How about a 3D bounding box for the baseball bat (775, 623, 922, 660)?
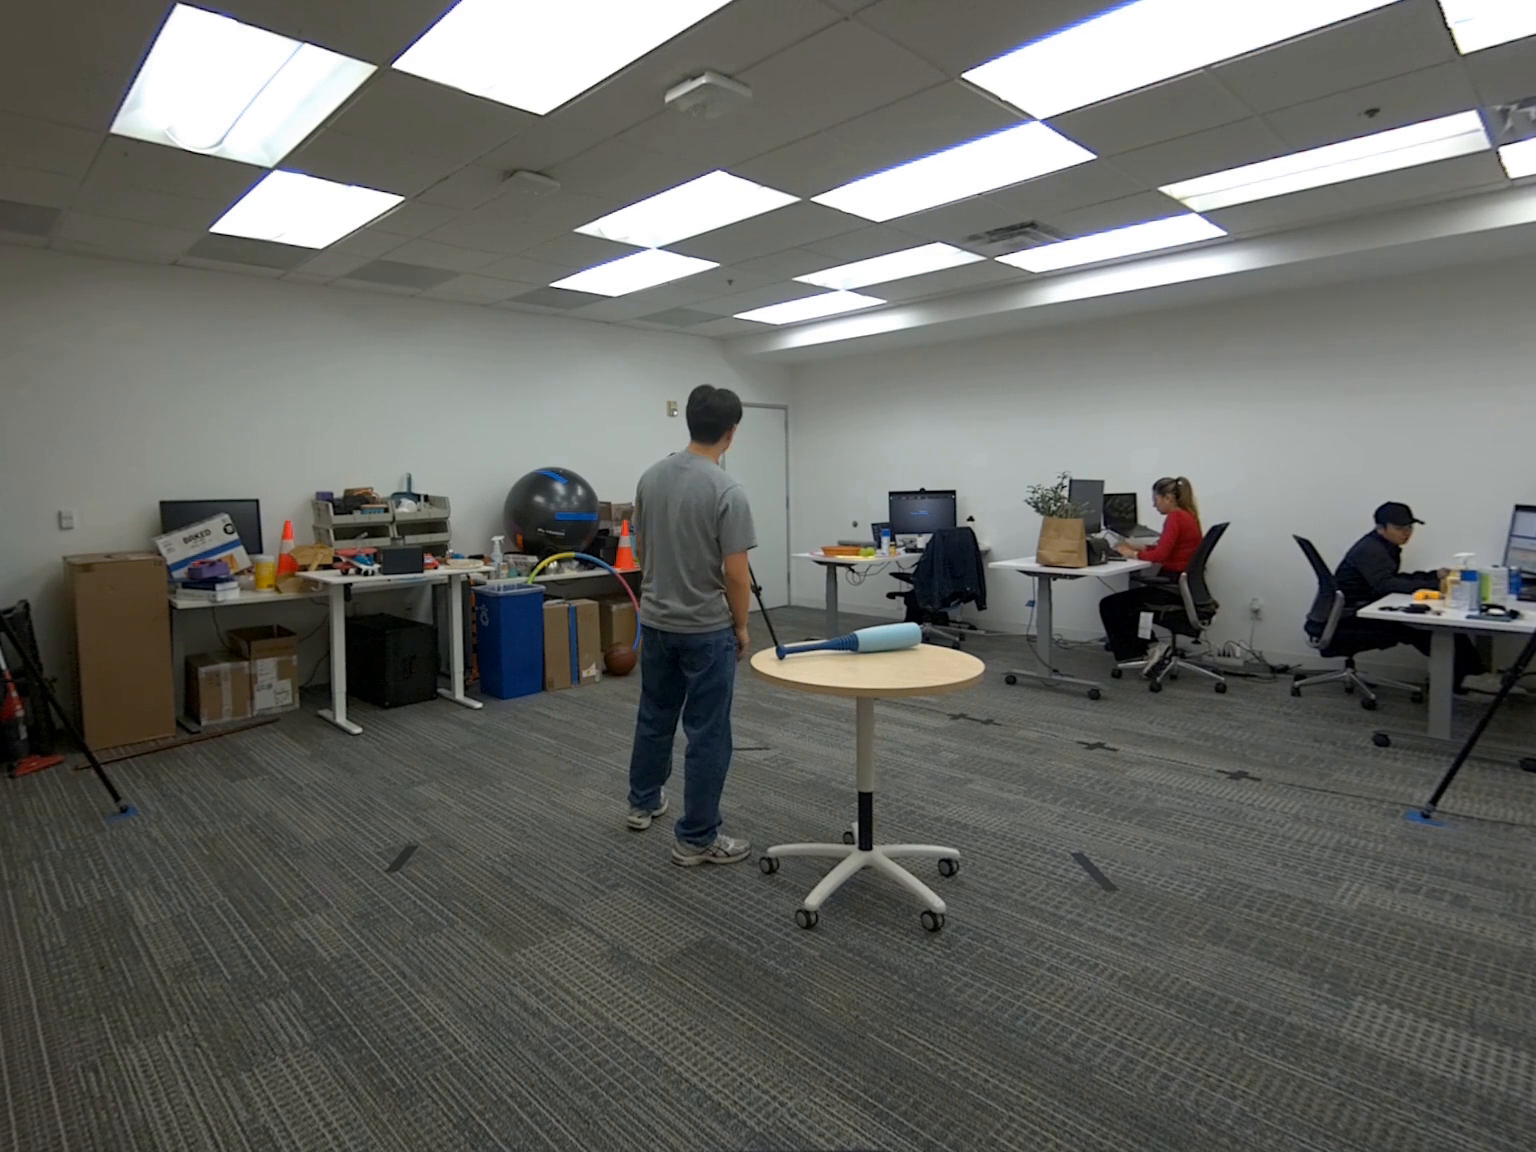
[{"bbox_3d":[0.283,0.234,2.971,0.535,0.088,0.091,-6,6,-18],"label":"baseball bat"}]
